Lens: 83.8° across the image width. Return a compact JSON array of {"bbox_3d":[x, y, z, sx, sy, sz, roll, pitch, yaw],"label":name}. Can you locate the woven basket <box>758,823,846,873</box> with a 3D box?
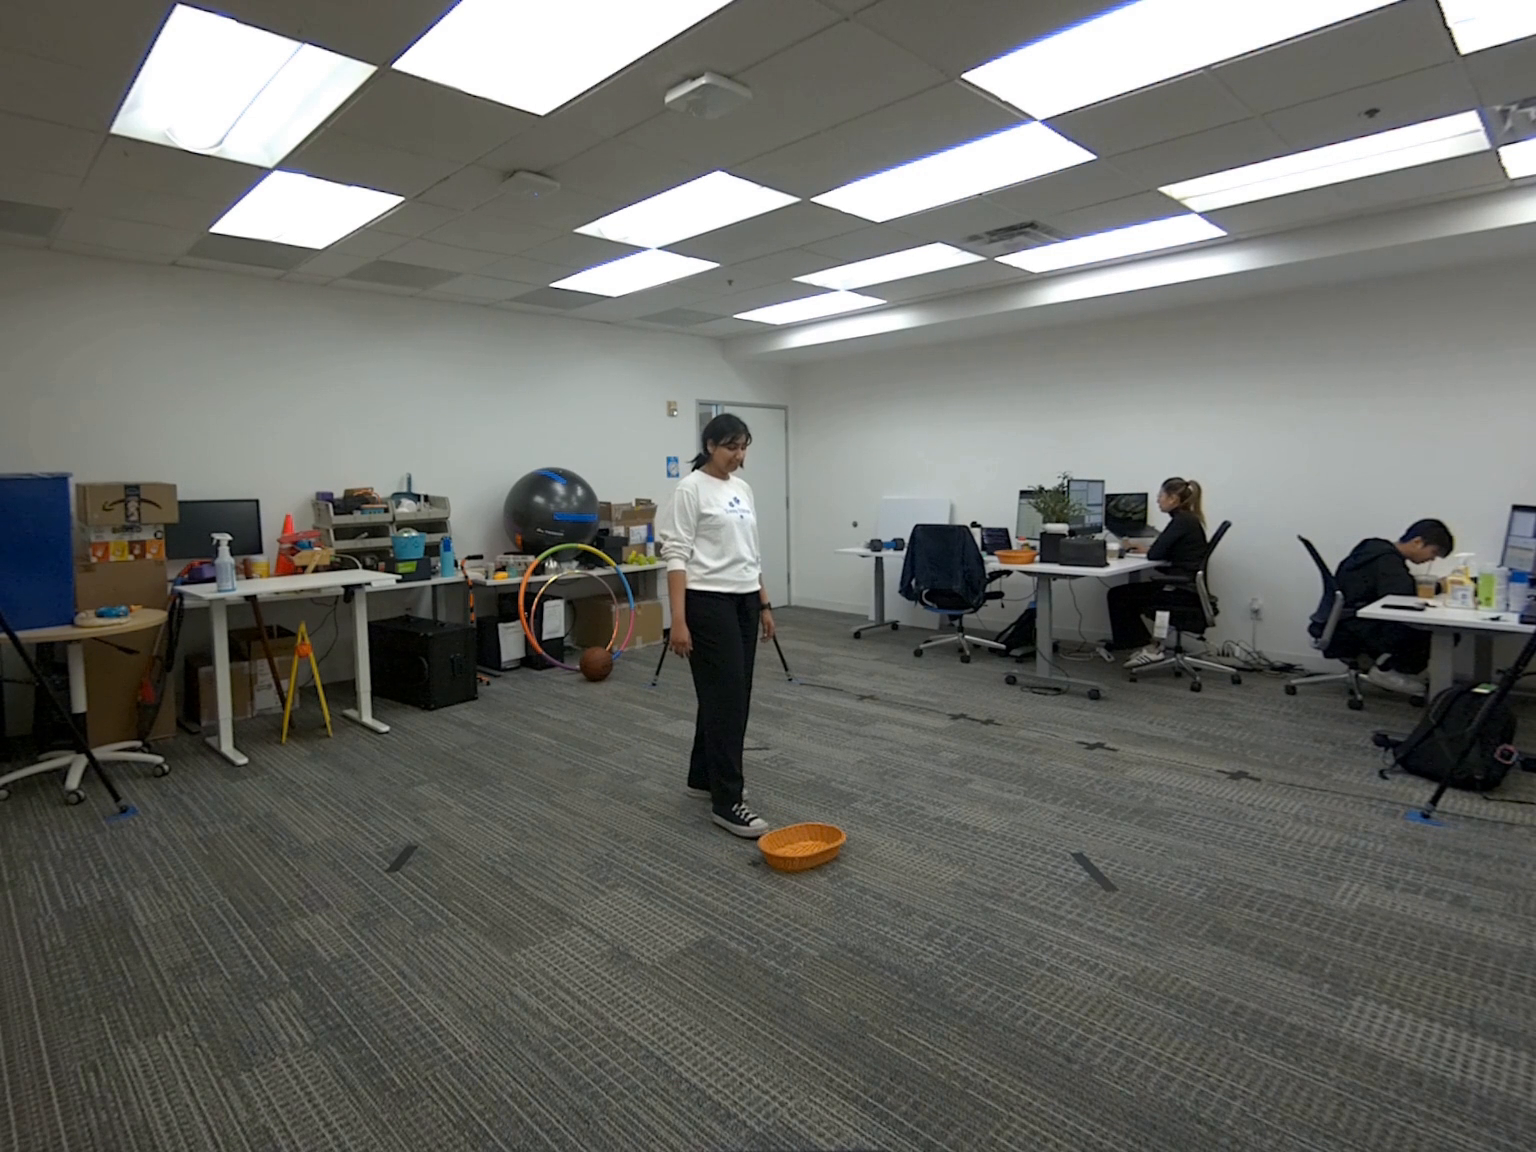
[{"bbox_3d":[0.123,0.994,3.155,0.342,0.073,0.259,-5,6,-34],"label":"woven basket"}]
